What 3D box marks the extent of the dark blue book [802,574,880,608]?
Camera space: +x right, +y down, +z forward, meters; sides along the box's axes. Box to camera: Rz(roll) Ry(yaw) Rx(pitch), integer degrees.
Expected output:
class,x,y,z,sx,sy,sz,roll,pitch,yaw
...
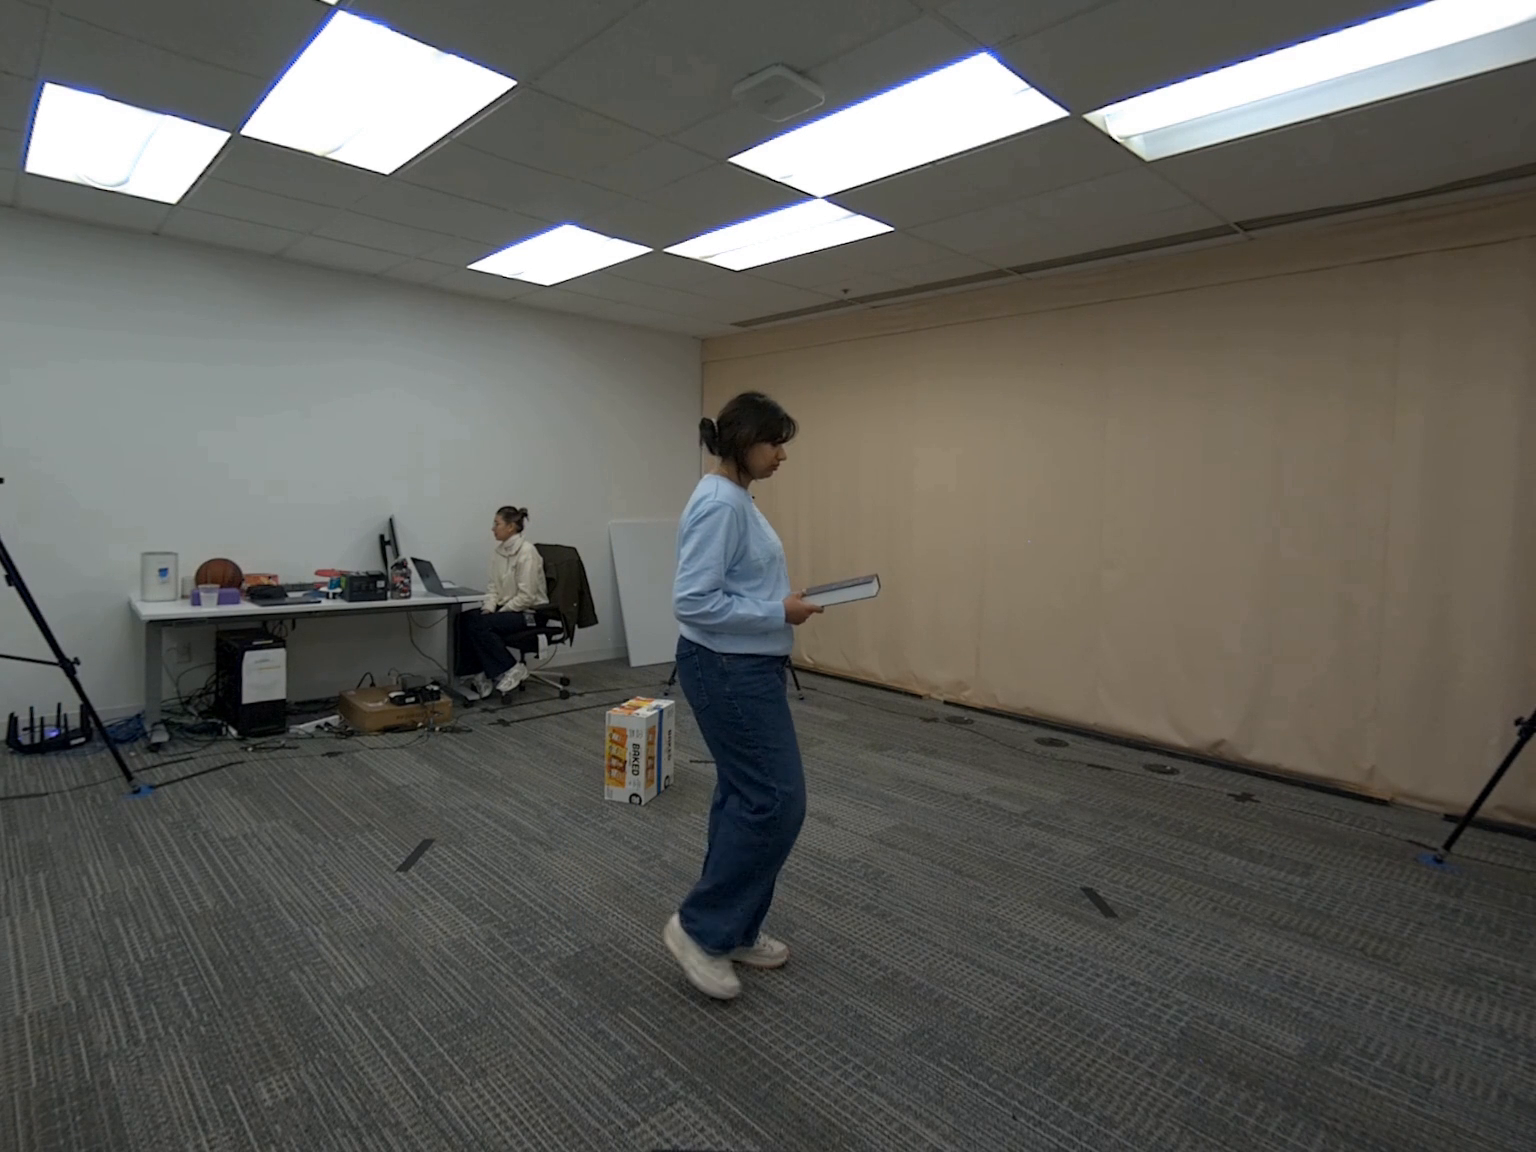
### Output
class,x,y,z,sx,sy,sz,roll,pitch,yaw
dark blue book,0.184,0.049,2.392,0.246,0.045,0.163,-11,6,7
